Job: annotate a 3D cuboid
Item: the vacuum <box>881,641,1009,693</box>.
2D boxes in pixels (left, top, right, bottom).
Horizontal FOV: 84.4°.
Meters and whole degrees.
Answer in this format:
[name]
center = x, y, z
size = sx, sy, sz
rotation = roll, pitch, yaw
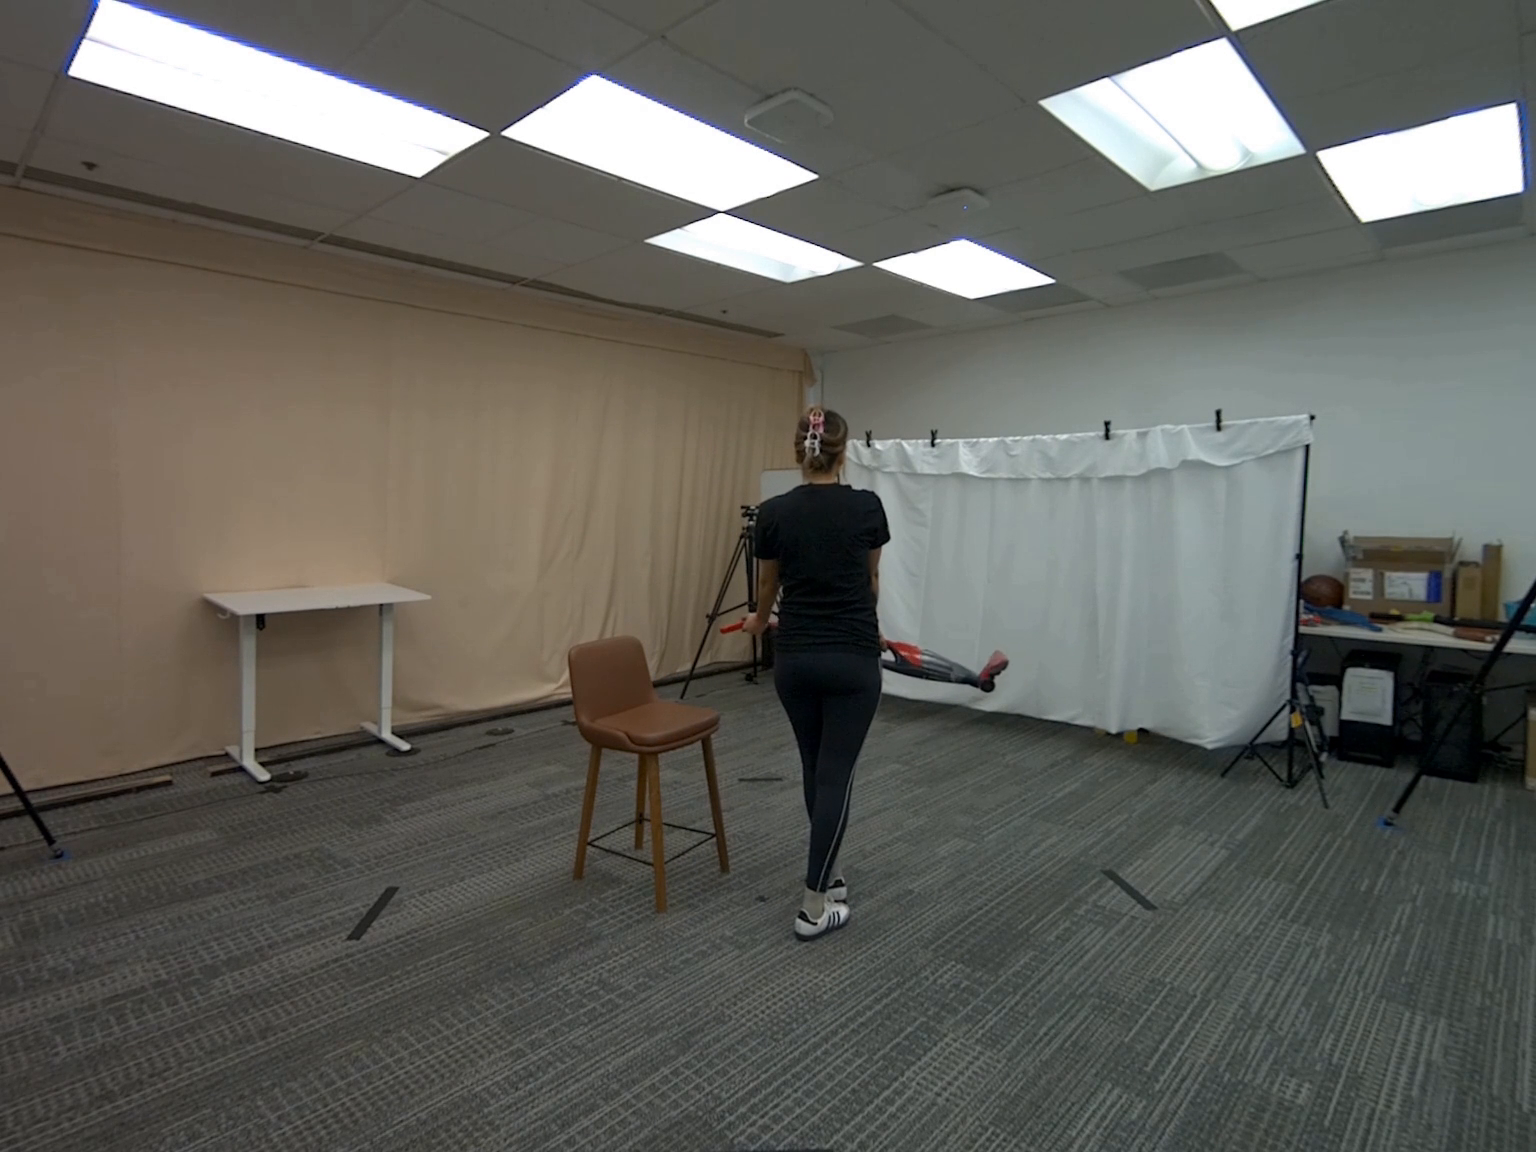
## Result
[vacuum]
center = 0.349, 0.297, 3.220
size = 1.067, 0.144, 0.248
rotation = 8, -1, 14
